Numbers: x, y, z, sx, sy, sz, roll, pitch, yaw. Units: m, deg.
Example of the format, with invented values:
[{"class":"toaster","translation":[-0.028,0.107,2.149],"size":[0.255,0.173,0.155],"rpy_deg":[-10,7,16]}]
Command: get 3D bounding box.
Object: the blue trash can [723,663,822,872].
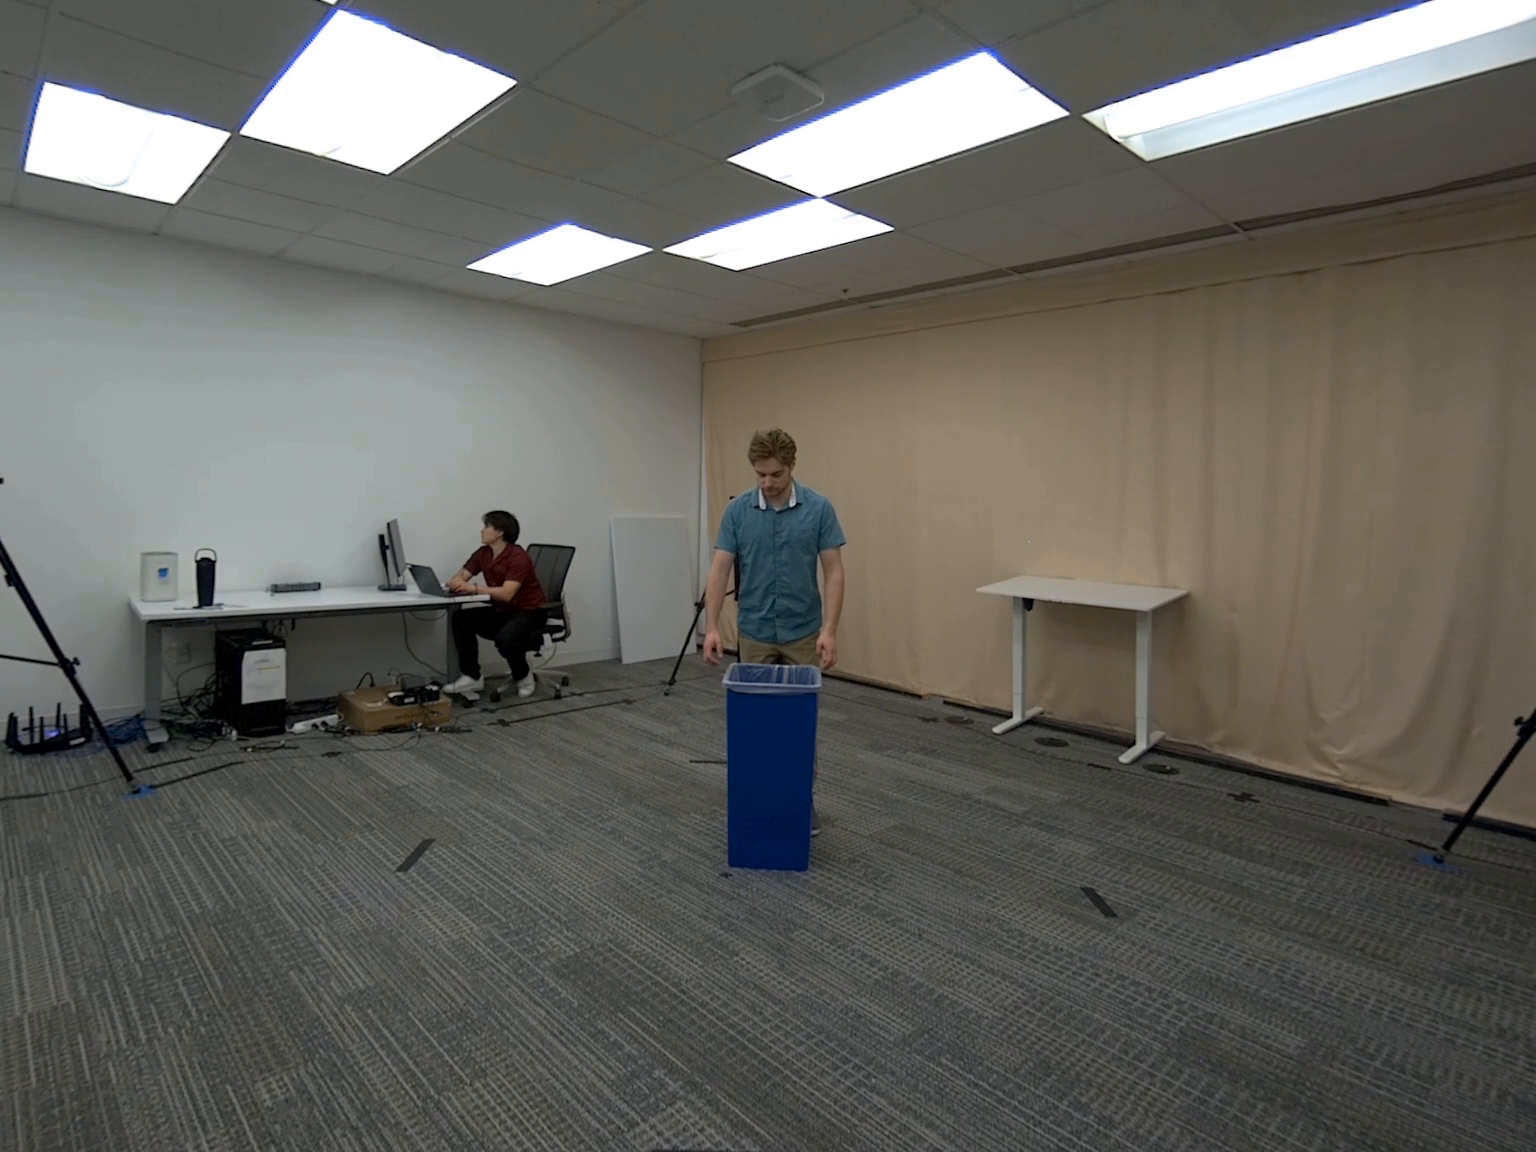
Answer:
[{"class":"blue trash can","translation":[-0.005,0.735,3.294],"size":[0.375,0.712,0.378],"rpy_deg":[2,4,3]}]
